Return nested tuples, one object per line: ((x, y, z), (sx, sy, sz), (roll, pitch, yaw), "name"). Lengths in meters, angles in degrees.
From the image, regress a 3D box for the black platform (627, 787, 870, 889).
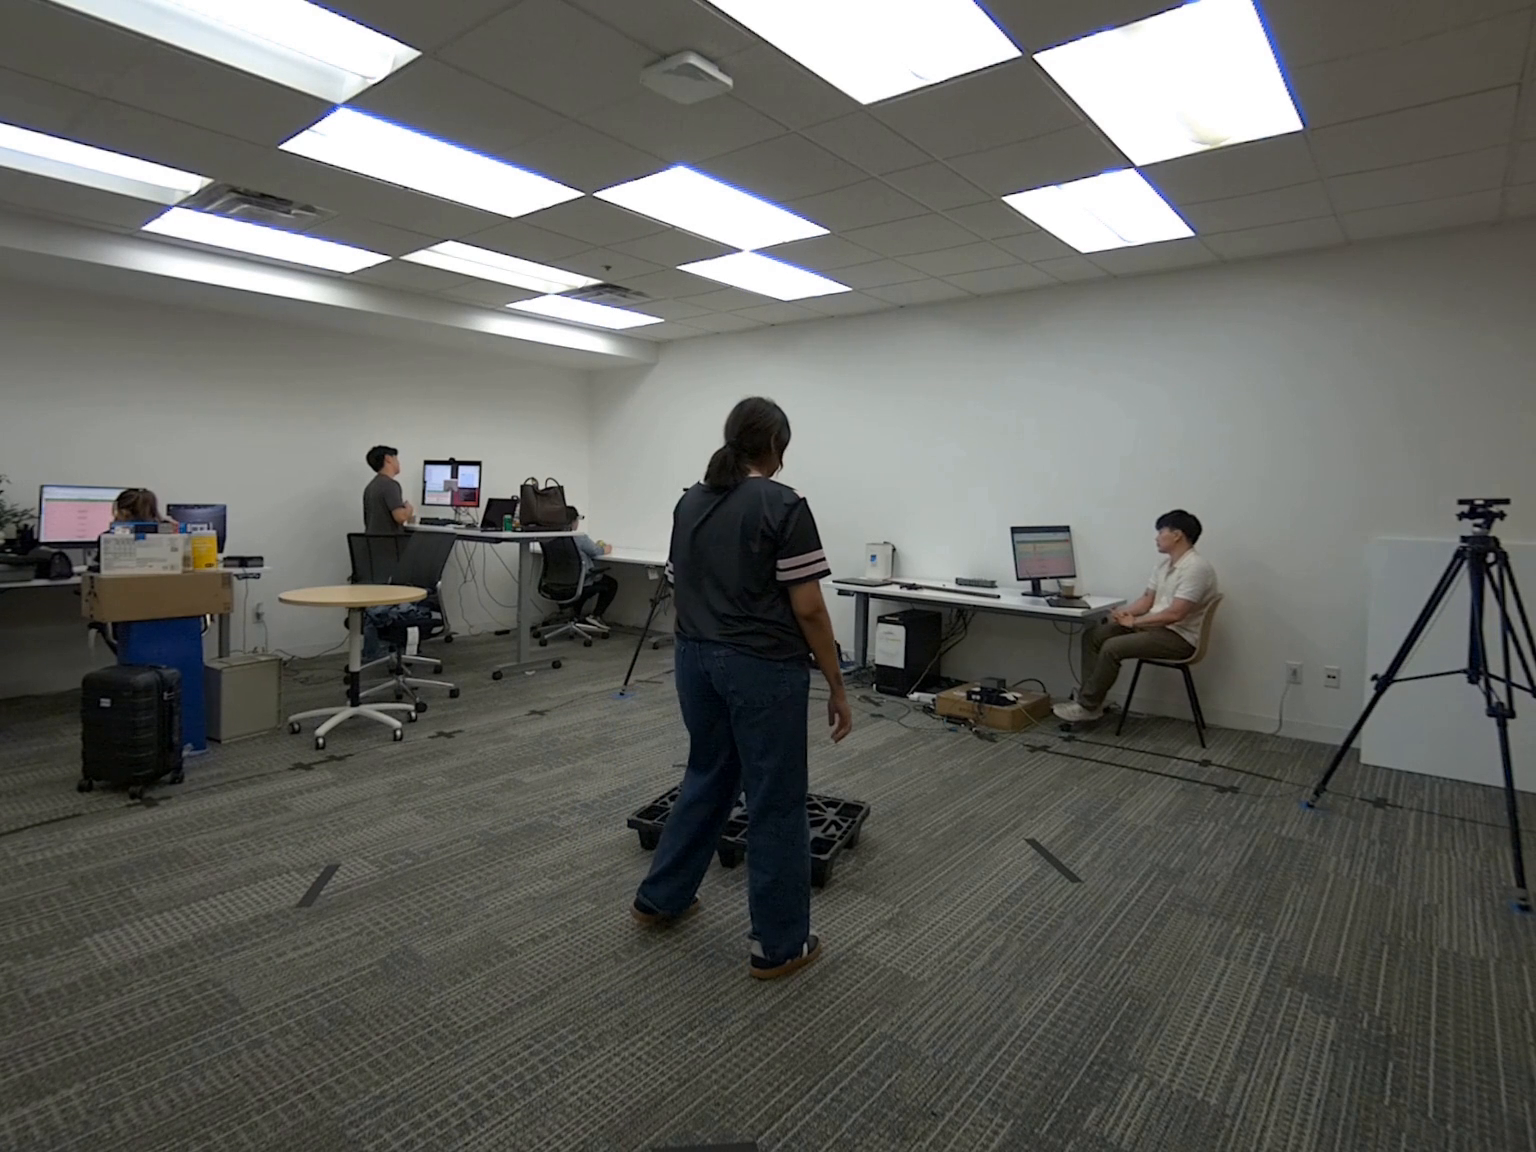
((-0.070, 0.981, 3.330), (0.826, 0.143, 0.593), (3, 6, 23), "black platform")
